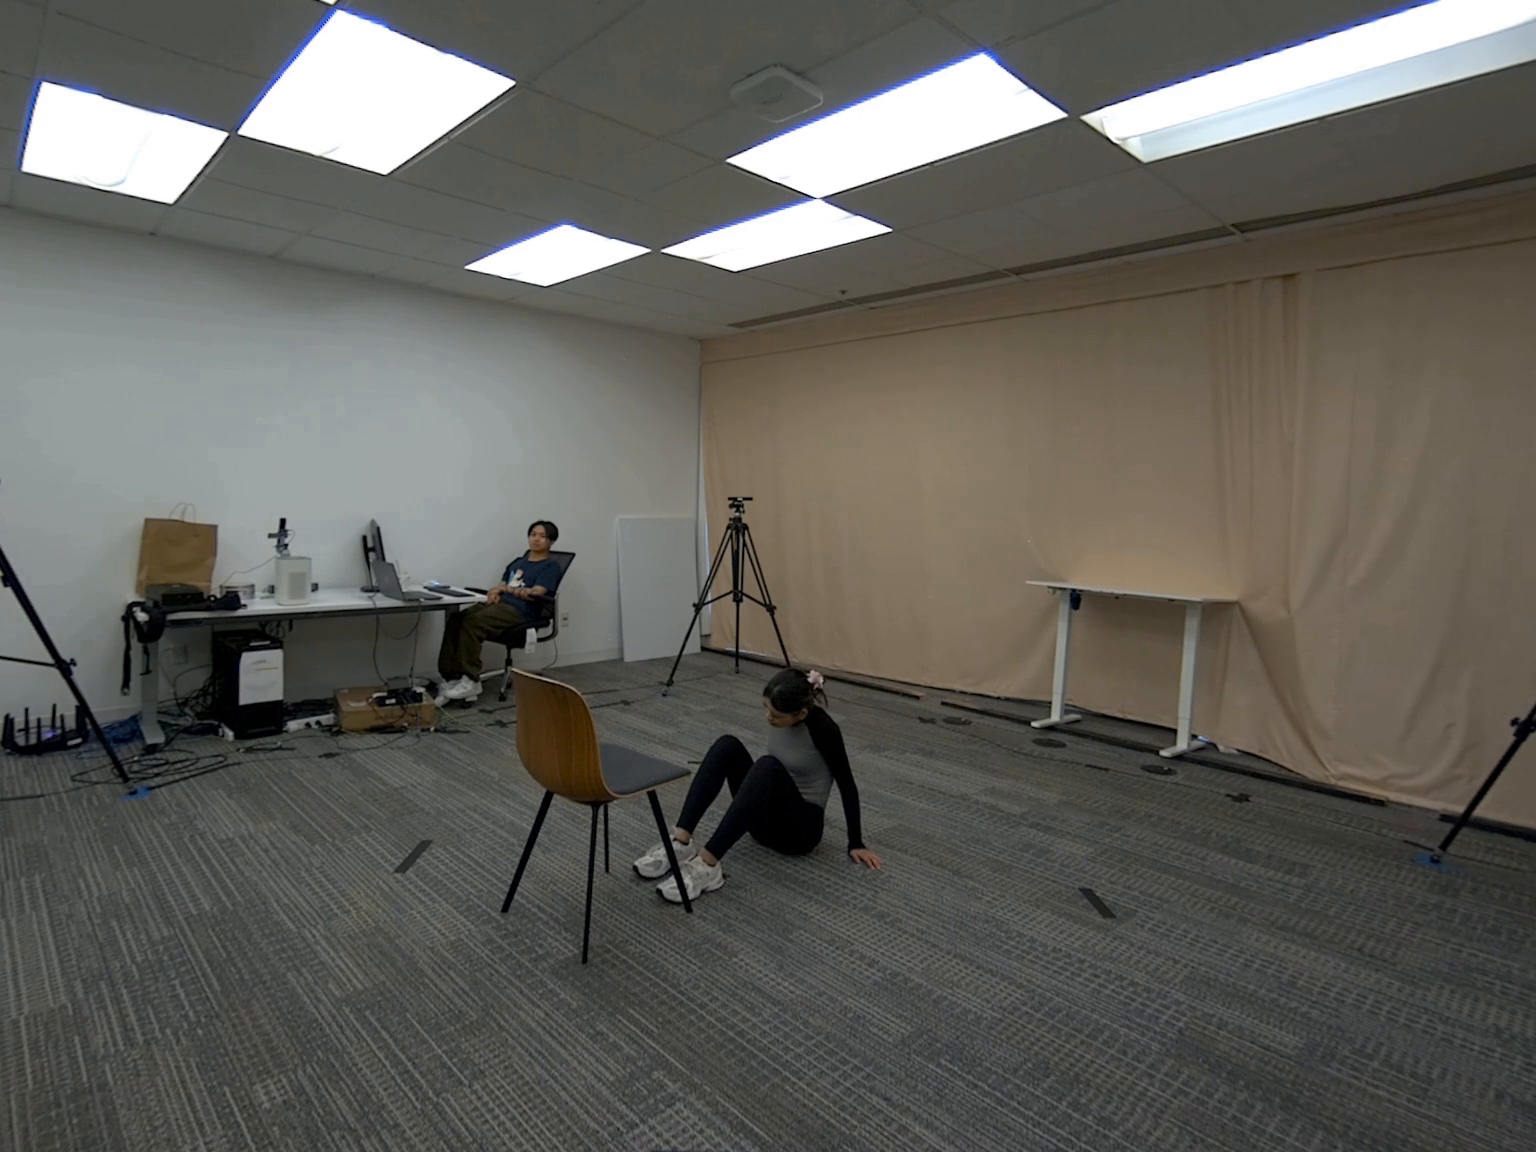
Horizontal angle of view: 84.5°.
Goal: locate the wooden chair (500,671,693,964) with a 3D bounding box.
[{"bbox_3d":[-0.558,0.698,2.783,0.490,0.873,0.513,4,9,41],"label":"wooden chair"}]
